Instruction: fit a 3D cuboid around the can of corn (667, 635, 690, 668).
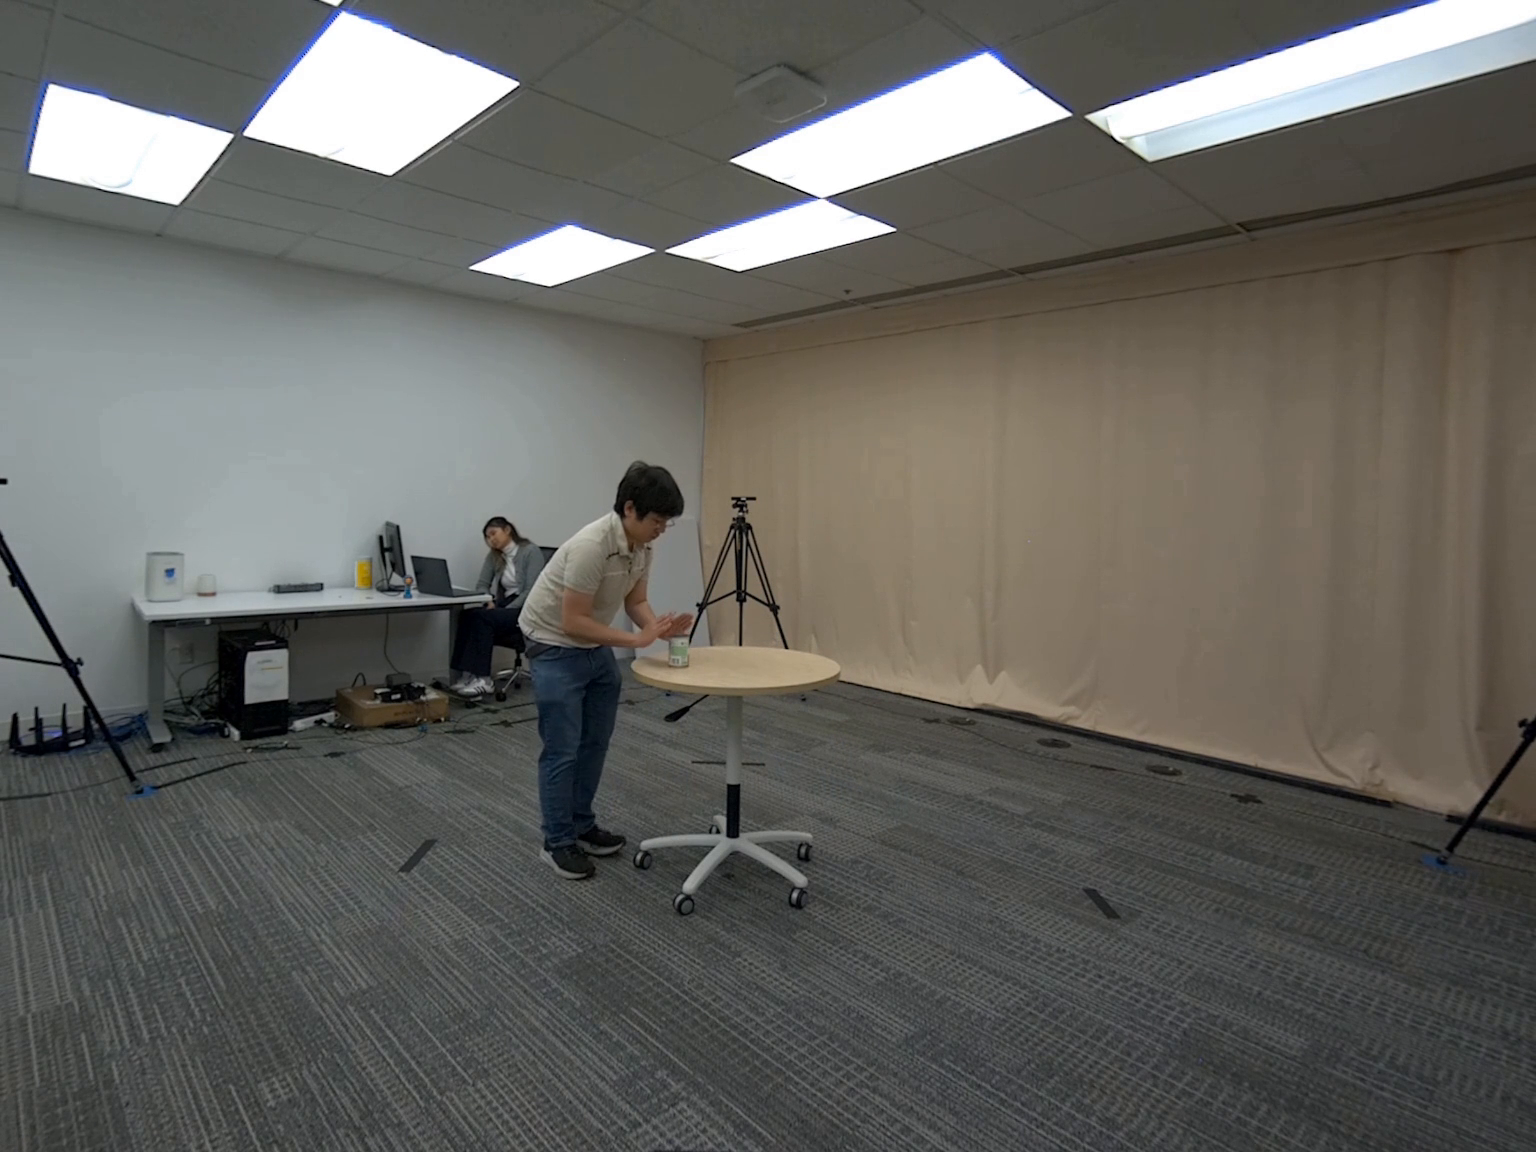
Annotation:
[{"bbox_3d":[-0.345,0.274,3.038,0.074,0.111,0.074,-1,3,-1],"label":"can of corn"}]
